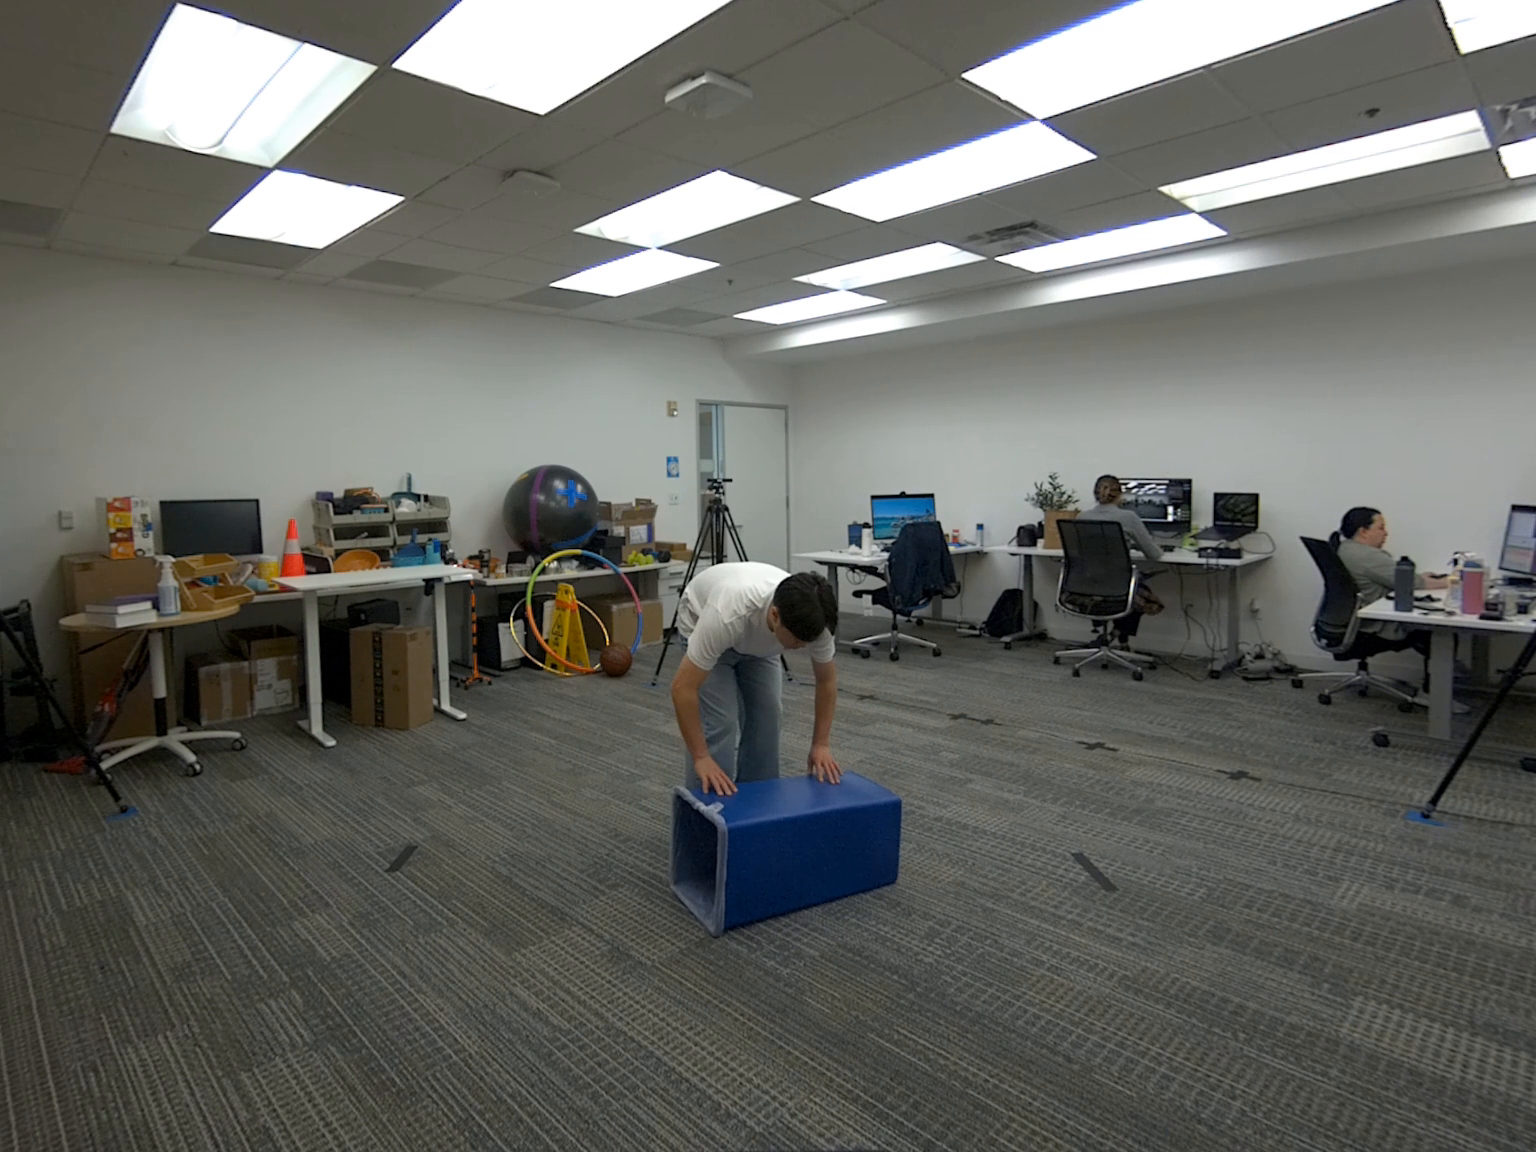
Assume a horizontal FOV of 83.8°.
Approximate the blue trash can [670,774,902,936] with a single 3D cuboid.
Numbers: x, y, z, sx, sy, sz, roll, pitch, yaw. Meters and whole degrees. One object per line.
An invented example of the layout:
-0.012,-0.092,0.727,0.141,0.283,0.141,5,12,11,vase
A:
0.067,0.905,2.900,0.697,0.377,0.384,-1,5,-28,blue trash can
